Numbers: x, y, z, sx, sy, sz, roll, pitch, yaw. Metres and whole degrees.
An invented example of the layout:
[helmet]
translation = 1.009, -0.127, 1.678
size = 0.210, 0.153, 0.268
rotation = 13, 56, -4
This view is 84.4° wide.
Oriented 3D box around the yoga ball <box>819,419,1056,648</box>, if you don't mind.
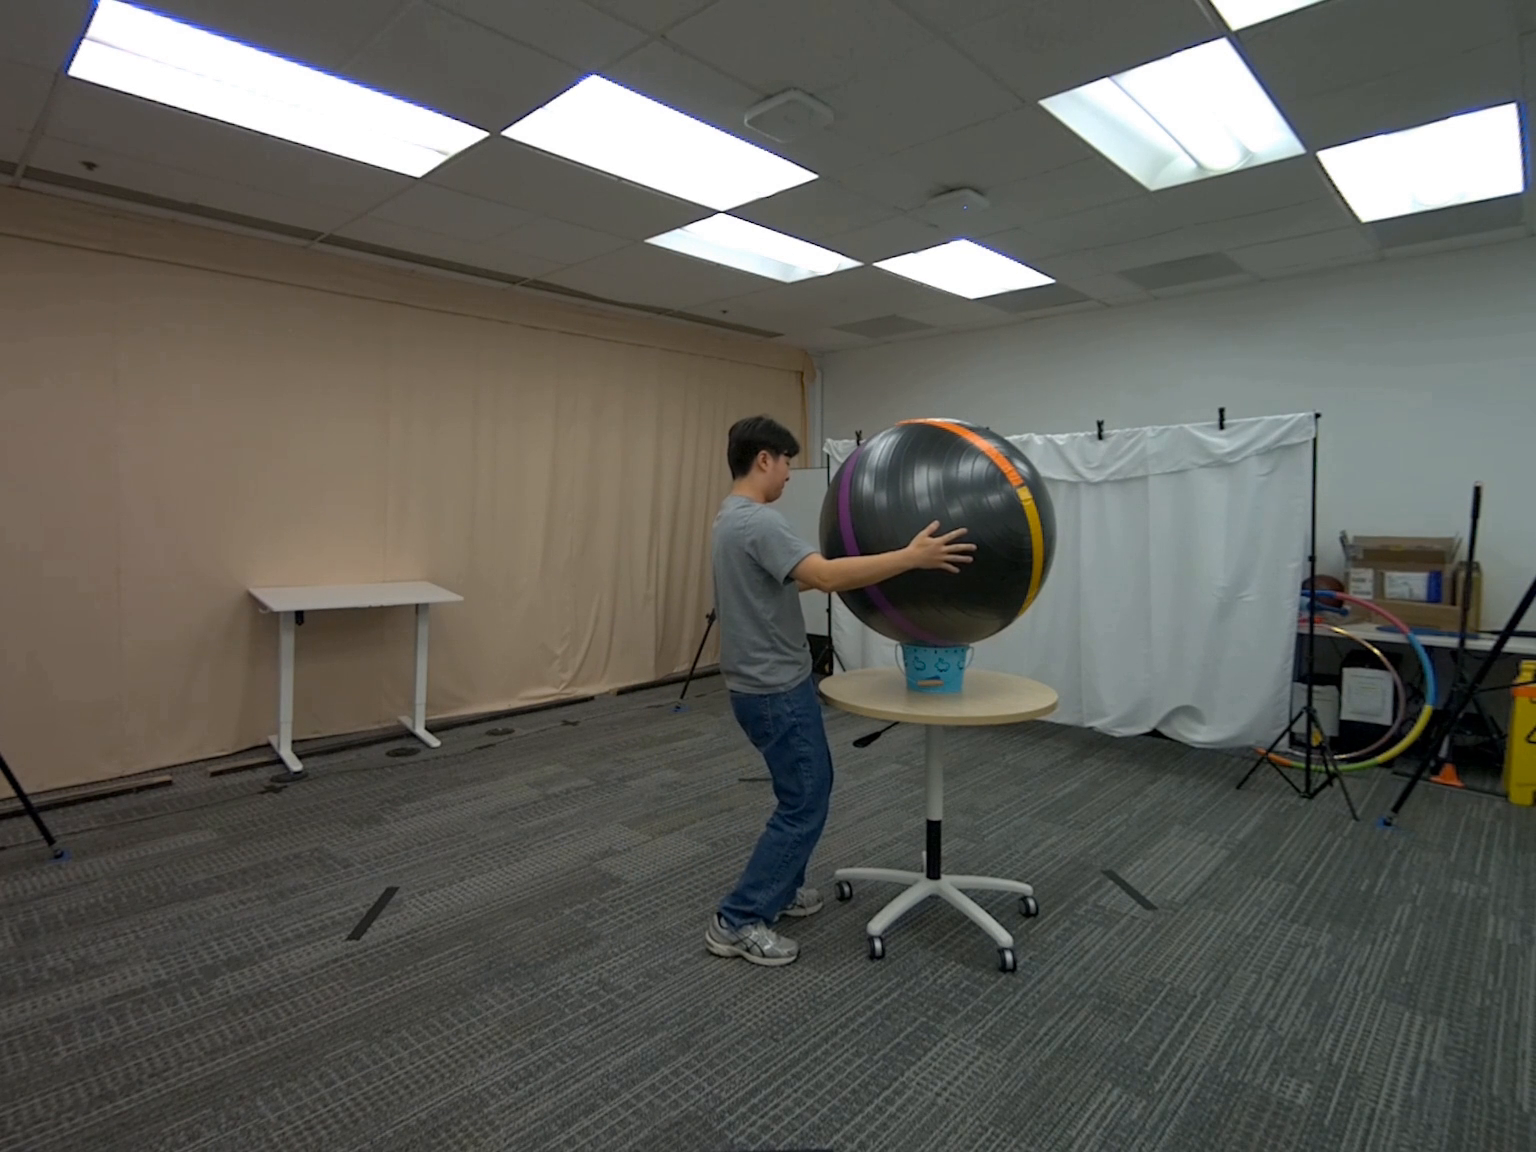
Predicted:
[yoga ball]
translation = 0.561, -0.140, 2.791
size = 0.757, 0.756, 0.760
rotation = 0, 4, -2
